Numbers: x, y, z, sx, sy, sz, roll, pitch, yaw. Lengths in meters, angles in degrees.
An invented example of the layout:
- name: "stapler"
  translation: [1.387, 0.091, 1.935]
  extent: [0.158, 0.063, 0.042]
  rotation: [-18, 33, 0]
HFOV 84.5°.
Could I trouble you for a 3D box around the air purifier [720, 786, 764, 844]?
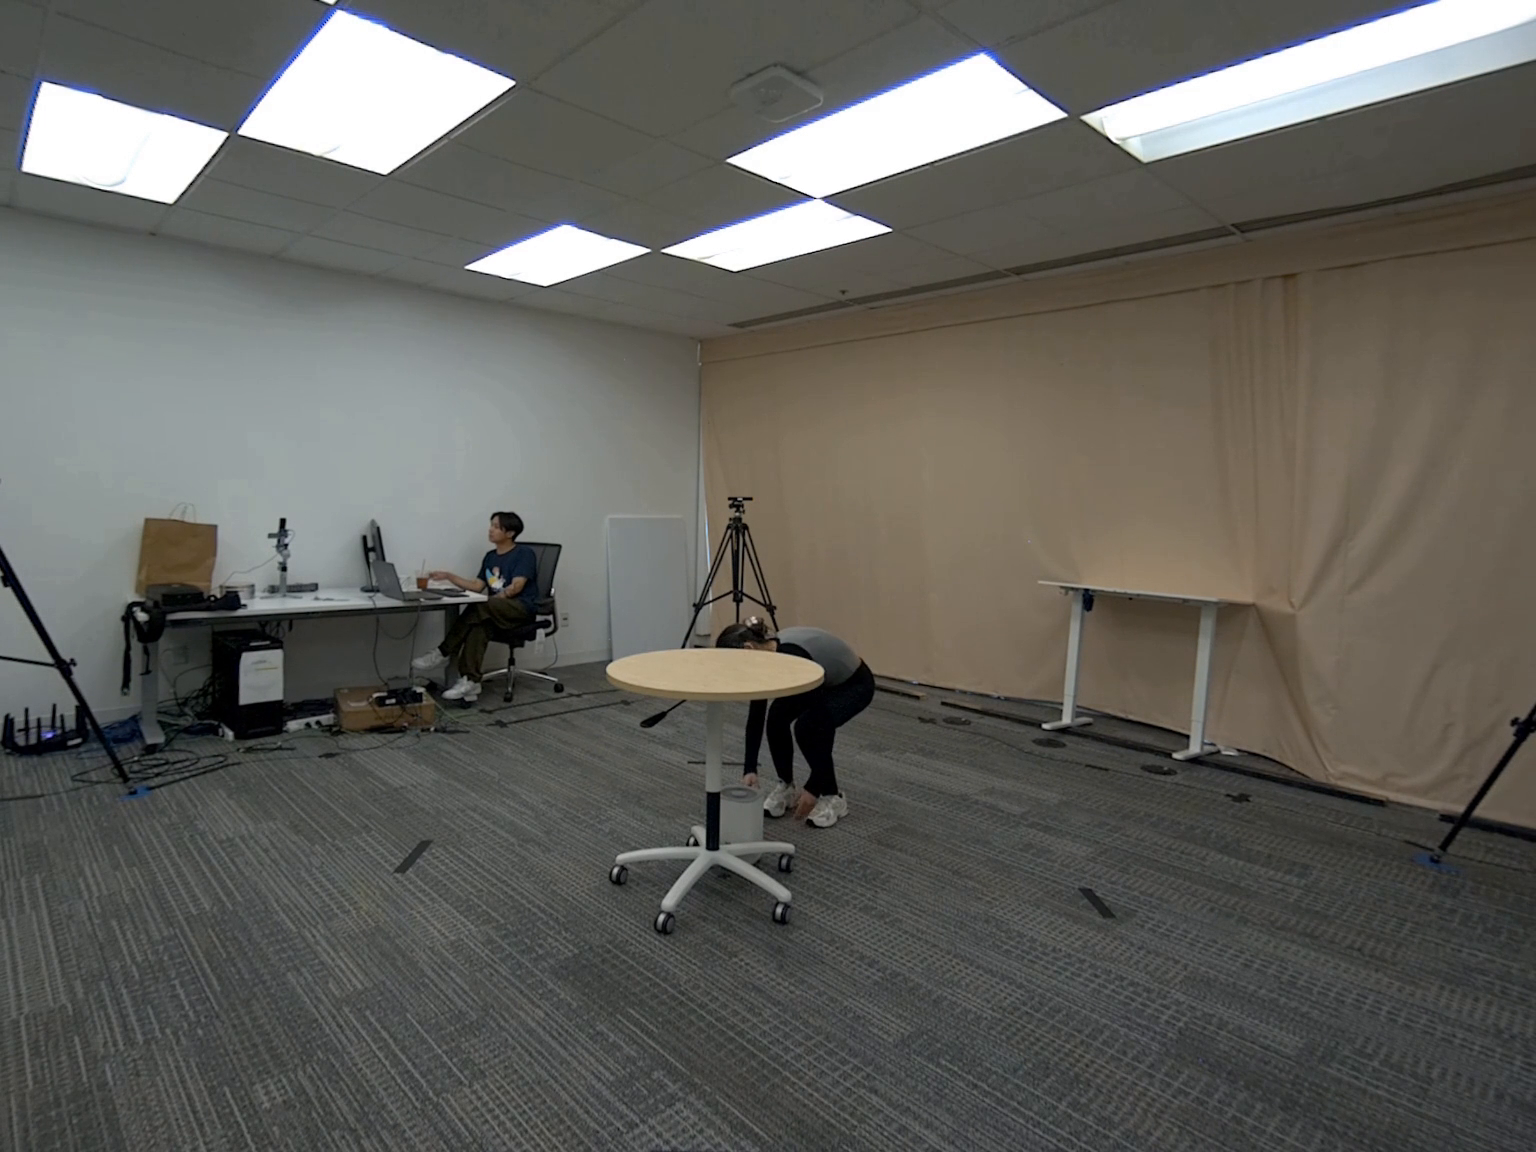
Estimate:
- name: "air purifier"
  translation: [-0.121, 0.959, 3.232]
  extent: [0.174, 0.264, 0.169]
  rotation: [3, 5, 23]
